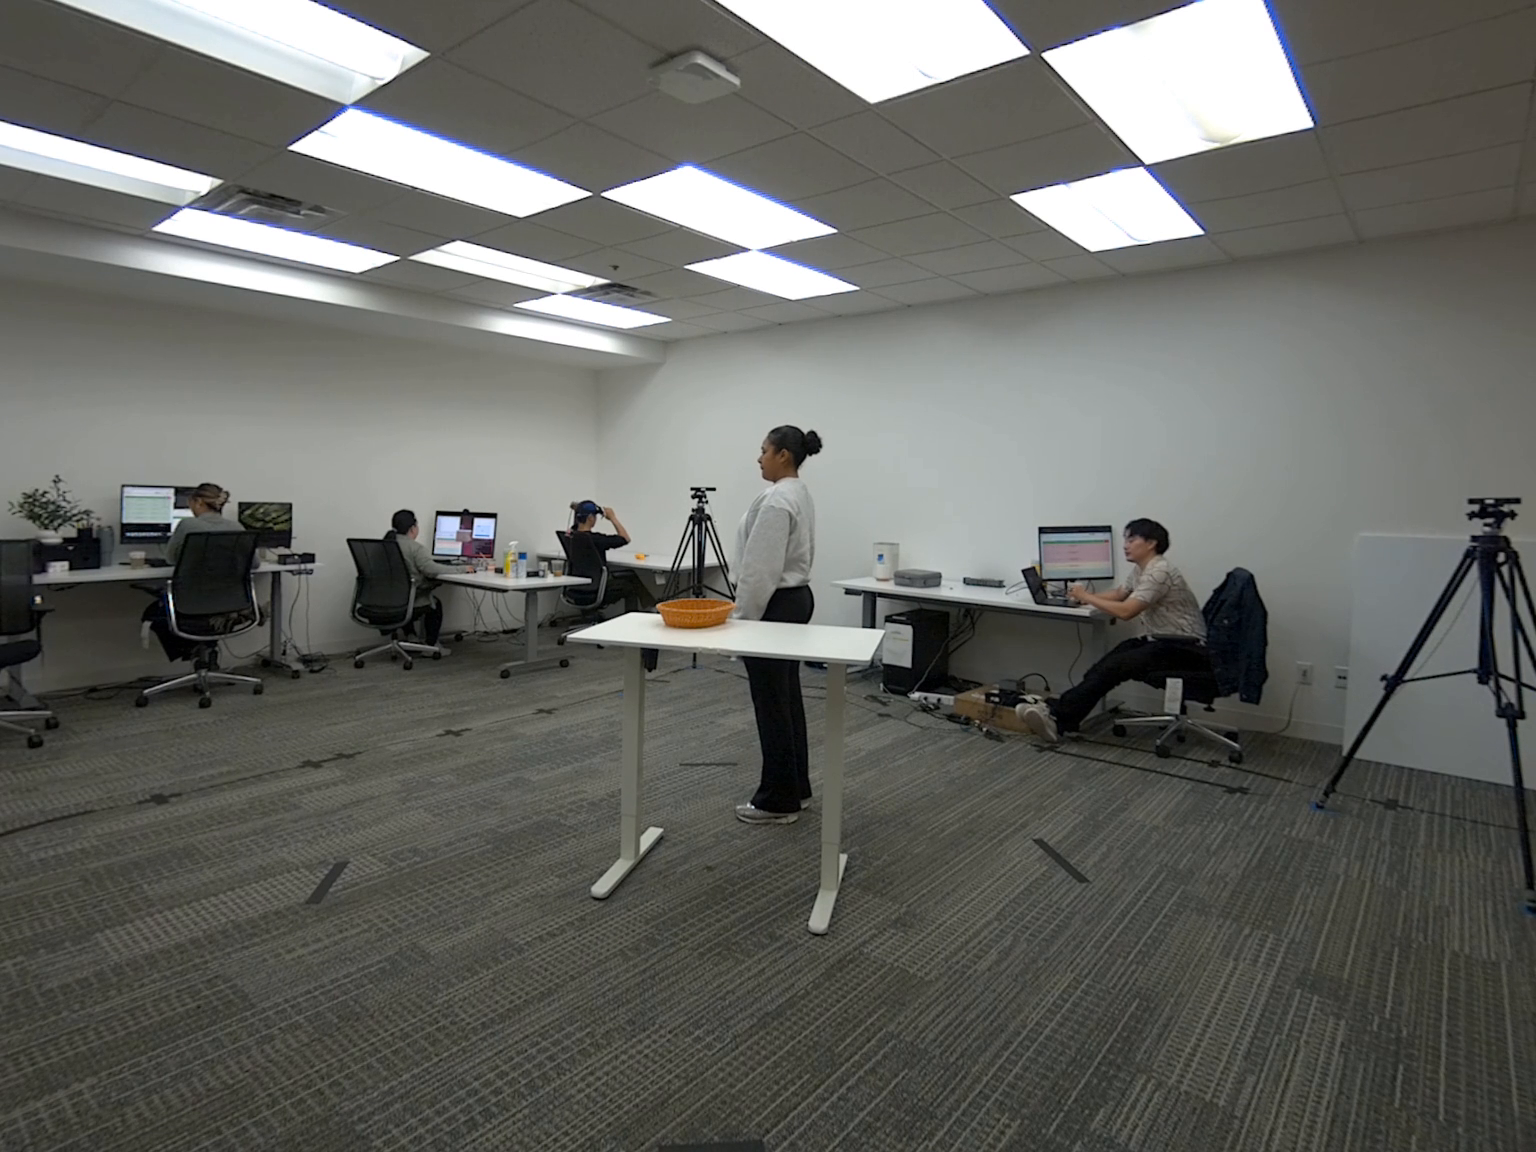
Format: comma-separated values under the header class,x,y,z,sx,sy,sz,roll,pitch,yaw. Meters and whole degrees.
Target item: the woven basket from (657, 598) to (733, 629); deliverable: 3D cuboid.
class,x,y,z,sx,sy,sz,roll,pitch,yaw
woven basket,-0.276,0.147,3.182,0.260,0.073,0.341,4,7,30
